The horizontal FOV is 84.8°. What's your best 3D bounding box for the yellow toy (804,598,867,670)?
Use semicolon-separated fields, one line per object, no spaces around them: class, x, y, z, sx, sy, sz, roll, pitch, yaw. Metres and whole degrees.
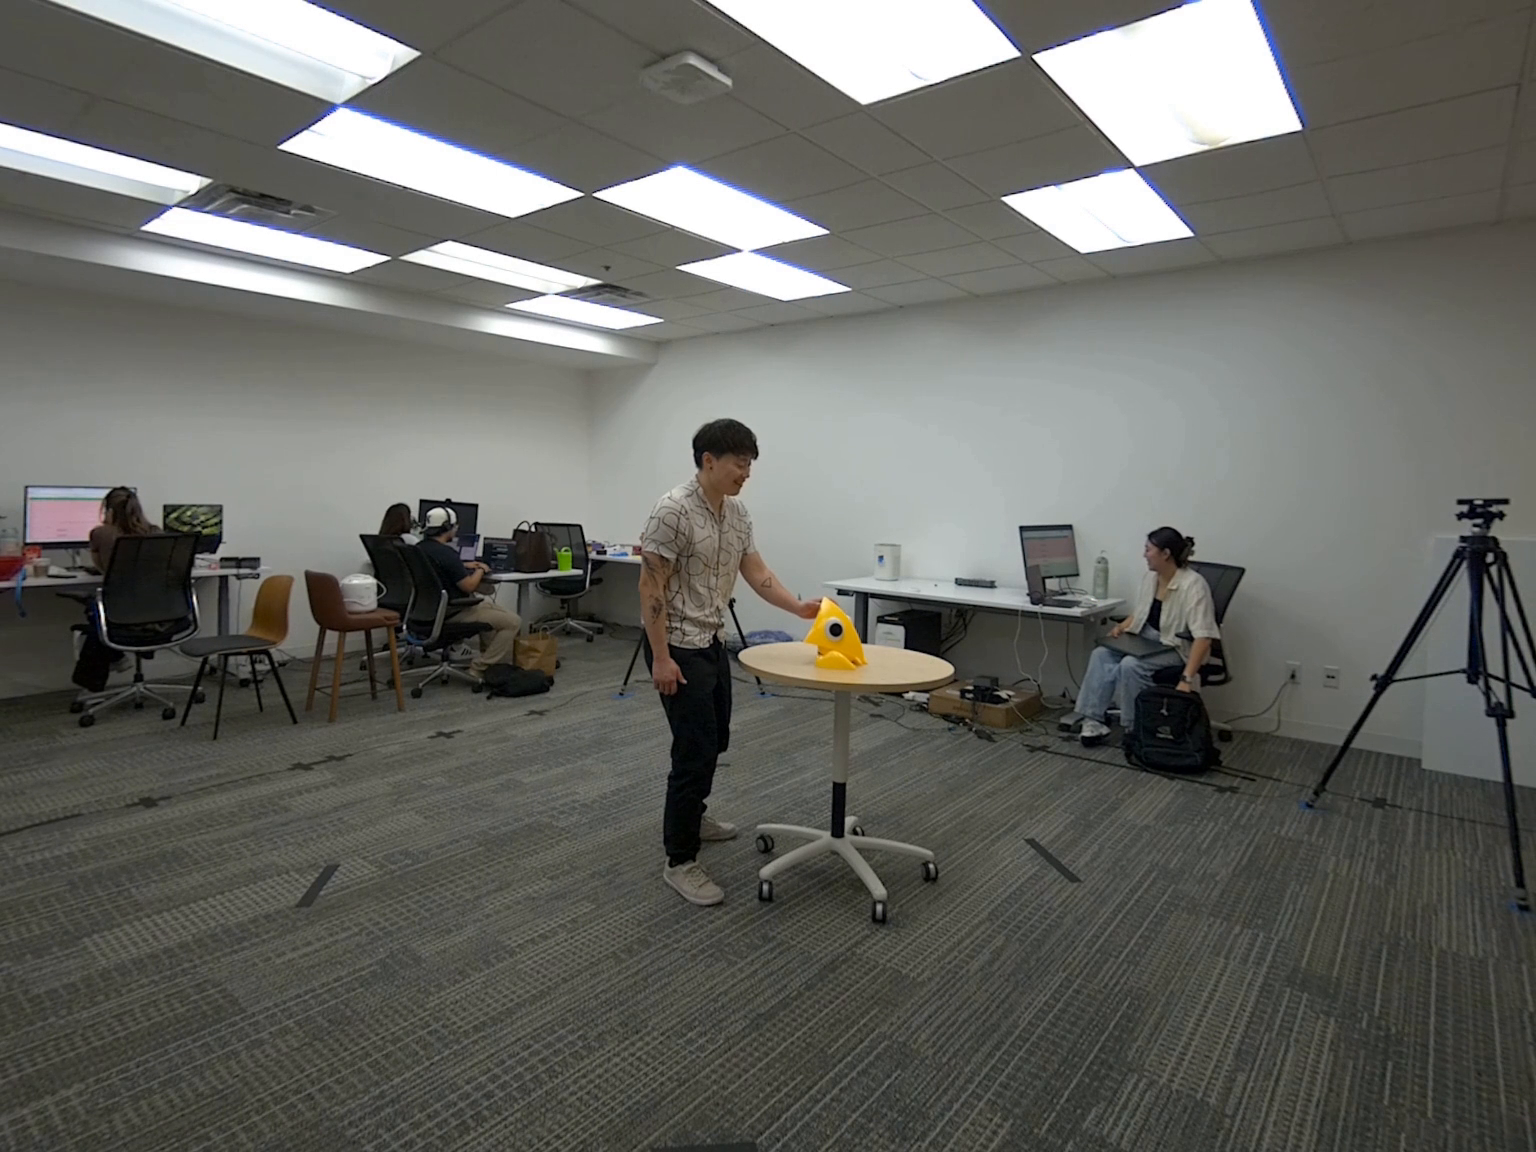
yellow toy;0.241;0.196;2.988;0.198;0.230;0.200;4;5;28
